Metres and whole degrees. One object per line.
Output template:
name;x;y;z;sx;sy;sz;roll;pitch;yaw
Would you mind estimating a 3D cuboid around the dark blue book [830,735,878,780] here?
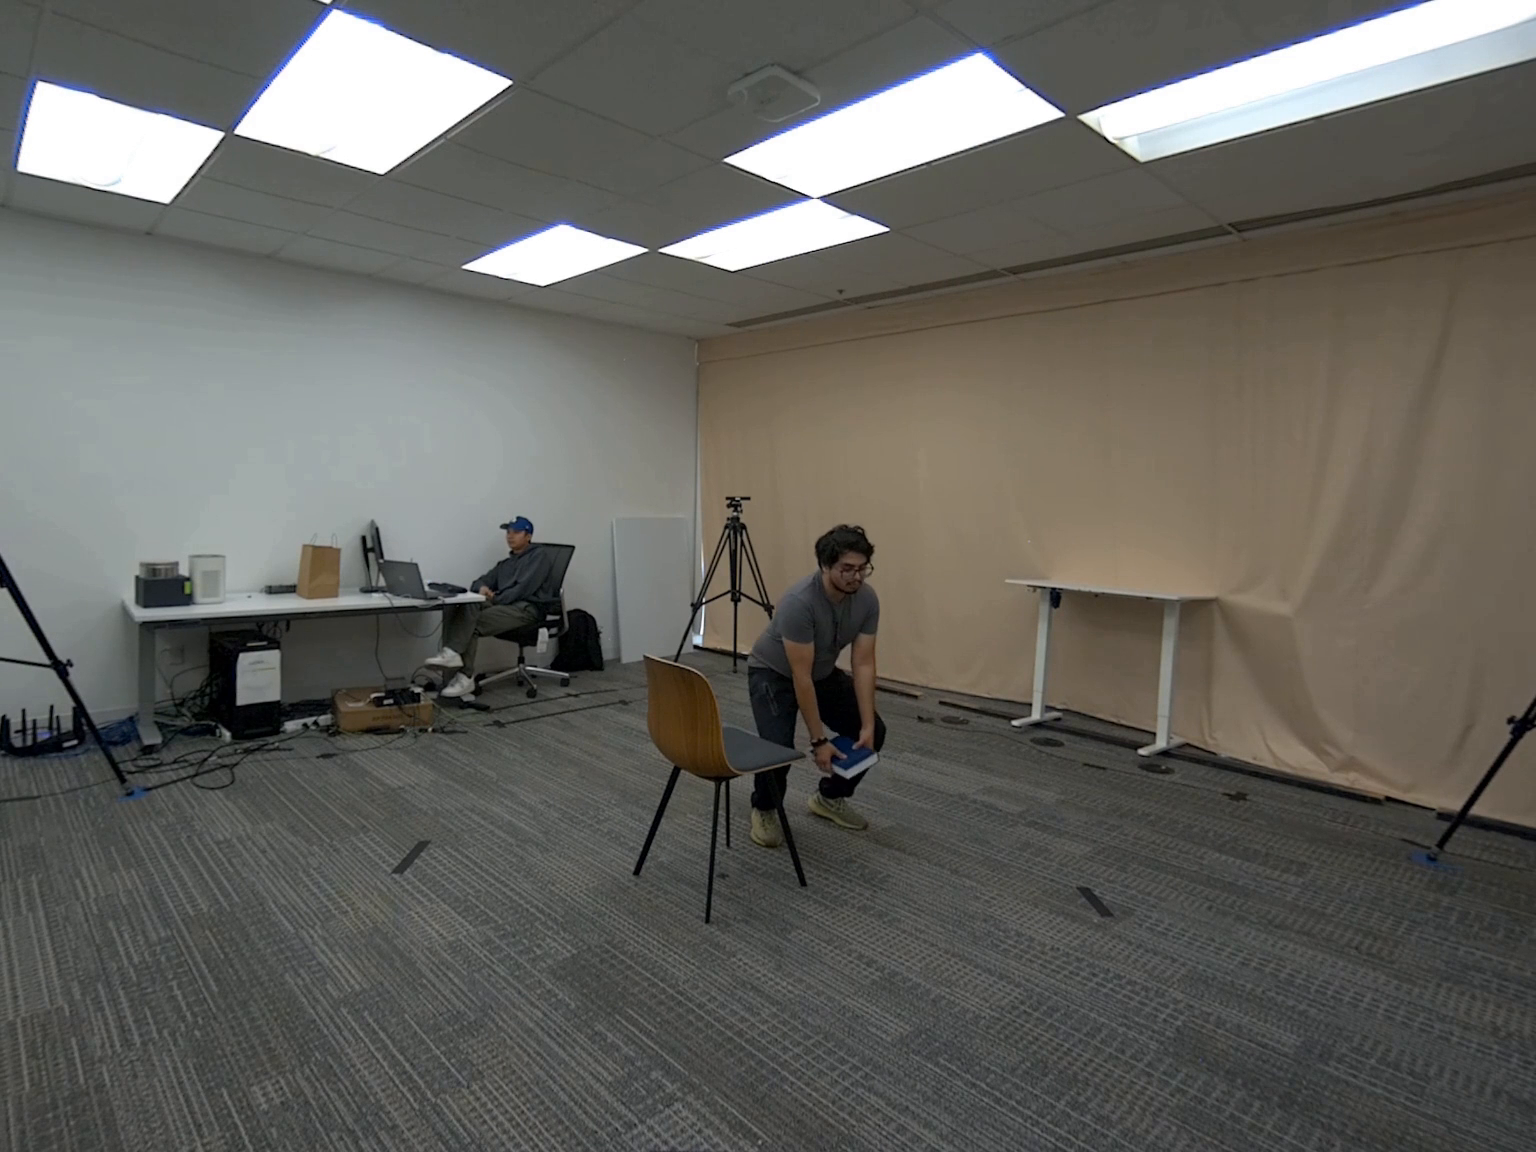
dark blue book;0.298;0.722;3.331;0.162;0.045;0.249;-25;12;-22
